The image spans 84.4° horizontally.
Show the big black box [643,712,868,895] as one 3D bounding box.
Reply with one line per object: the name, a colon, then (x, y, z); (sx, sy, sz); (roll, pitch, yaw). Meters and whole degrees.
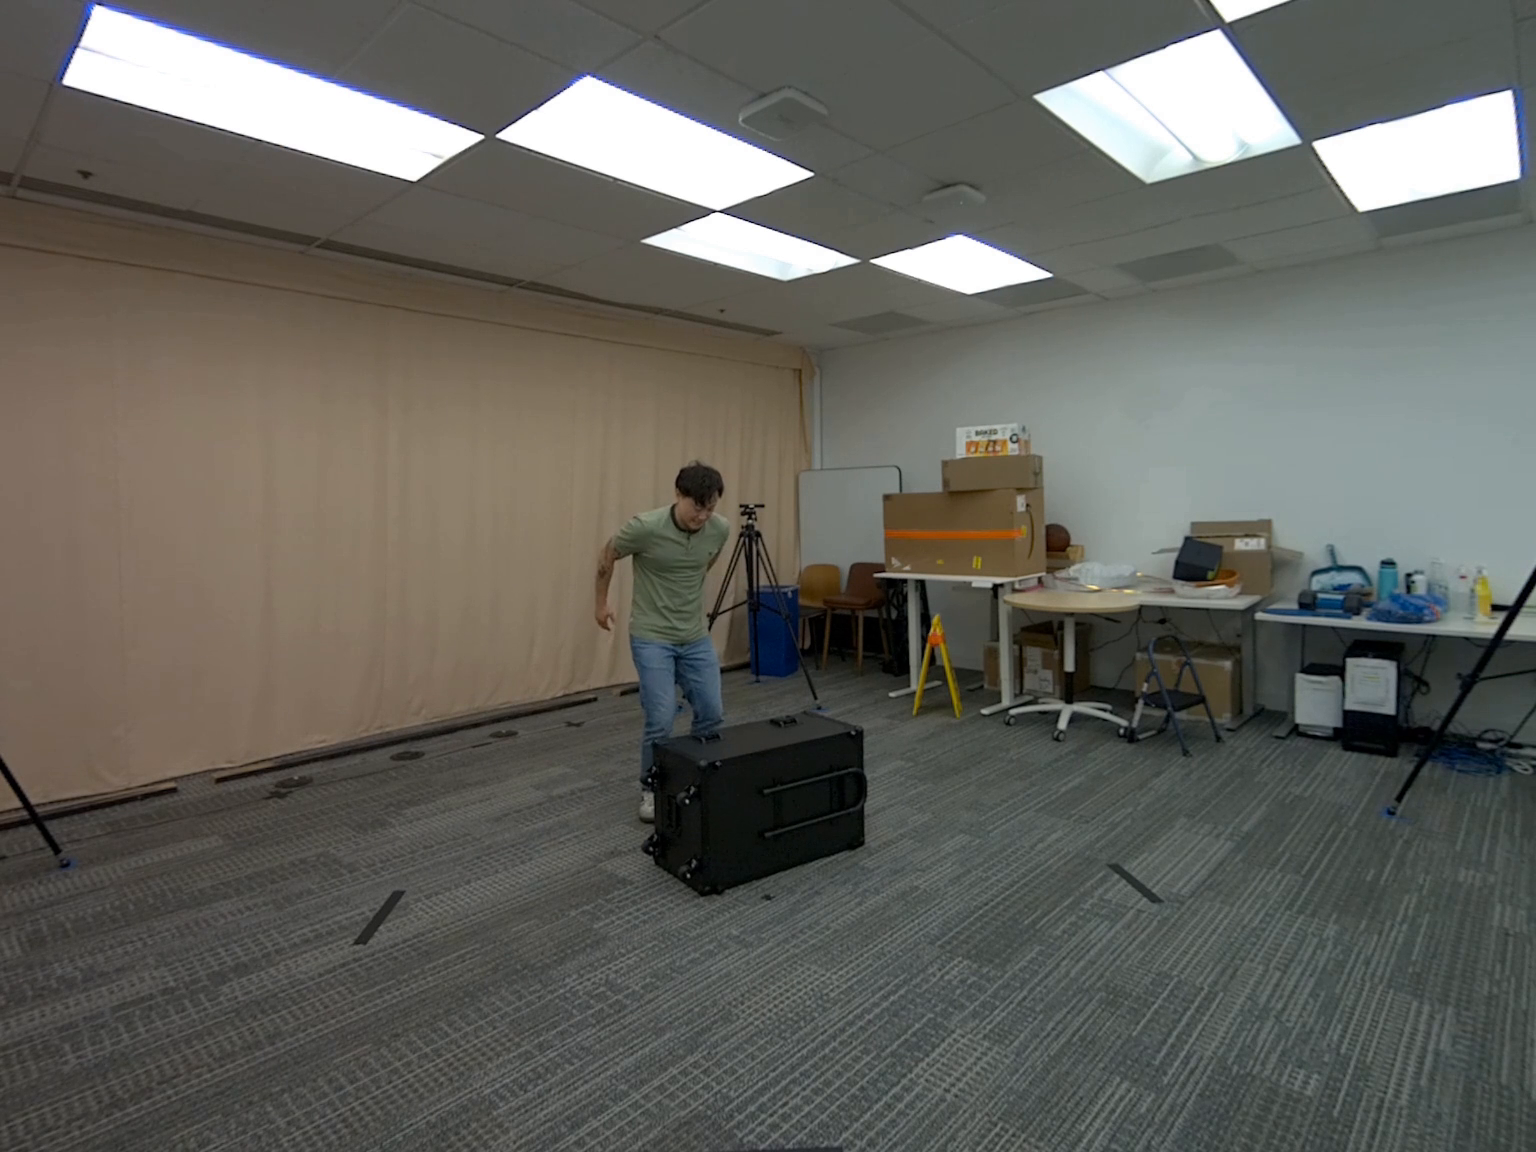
big black box: (-0.043, 0.871, 3.308); (0.837, 0.520, 0.408); (-4, 5, -34)
